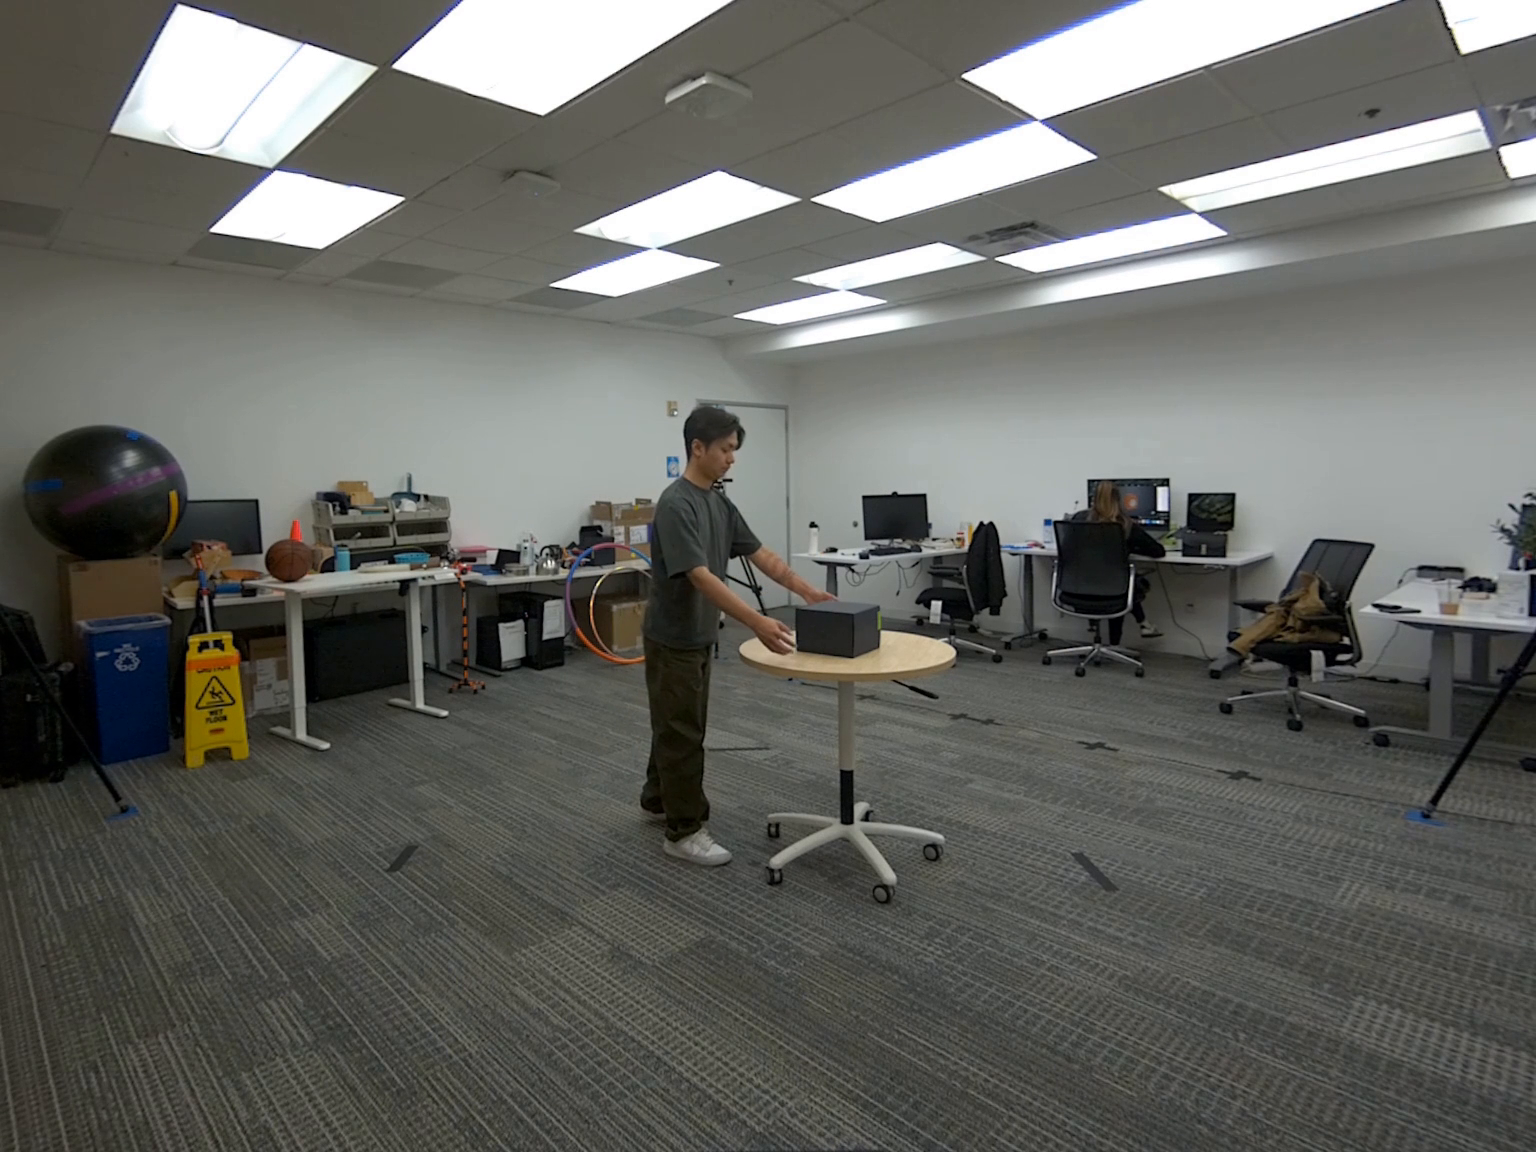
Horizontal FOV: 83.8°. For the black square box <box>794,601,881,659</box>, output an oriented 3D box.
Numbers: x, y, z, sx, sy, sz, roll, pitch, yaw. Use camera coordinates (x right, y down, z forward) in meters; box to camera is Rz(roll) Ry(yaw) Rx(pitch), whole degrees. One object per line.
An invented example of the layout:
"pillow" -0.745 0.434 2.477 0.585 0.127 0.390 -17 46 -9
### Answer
"black square box" 0.262 0.186 3.033 0.234 0.155 0.212 3 6 34
